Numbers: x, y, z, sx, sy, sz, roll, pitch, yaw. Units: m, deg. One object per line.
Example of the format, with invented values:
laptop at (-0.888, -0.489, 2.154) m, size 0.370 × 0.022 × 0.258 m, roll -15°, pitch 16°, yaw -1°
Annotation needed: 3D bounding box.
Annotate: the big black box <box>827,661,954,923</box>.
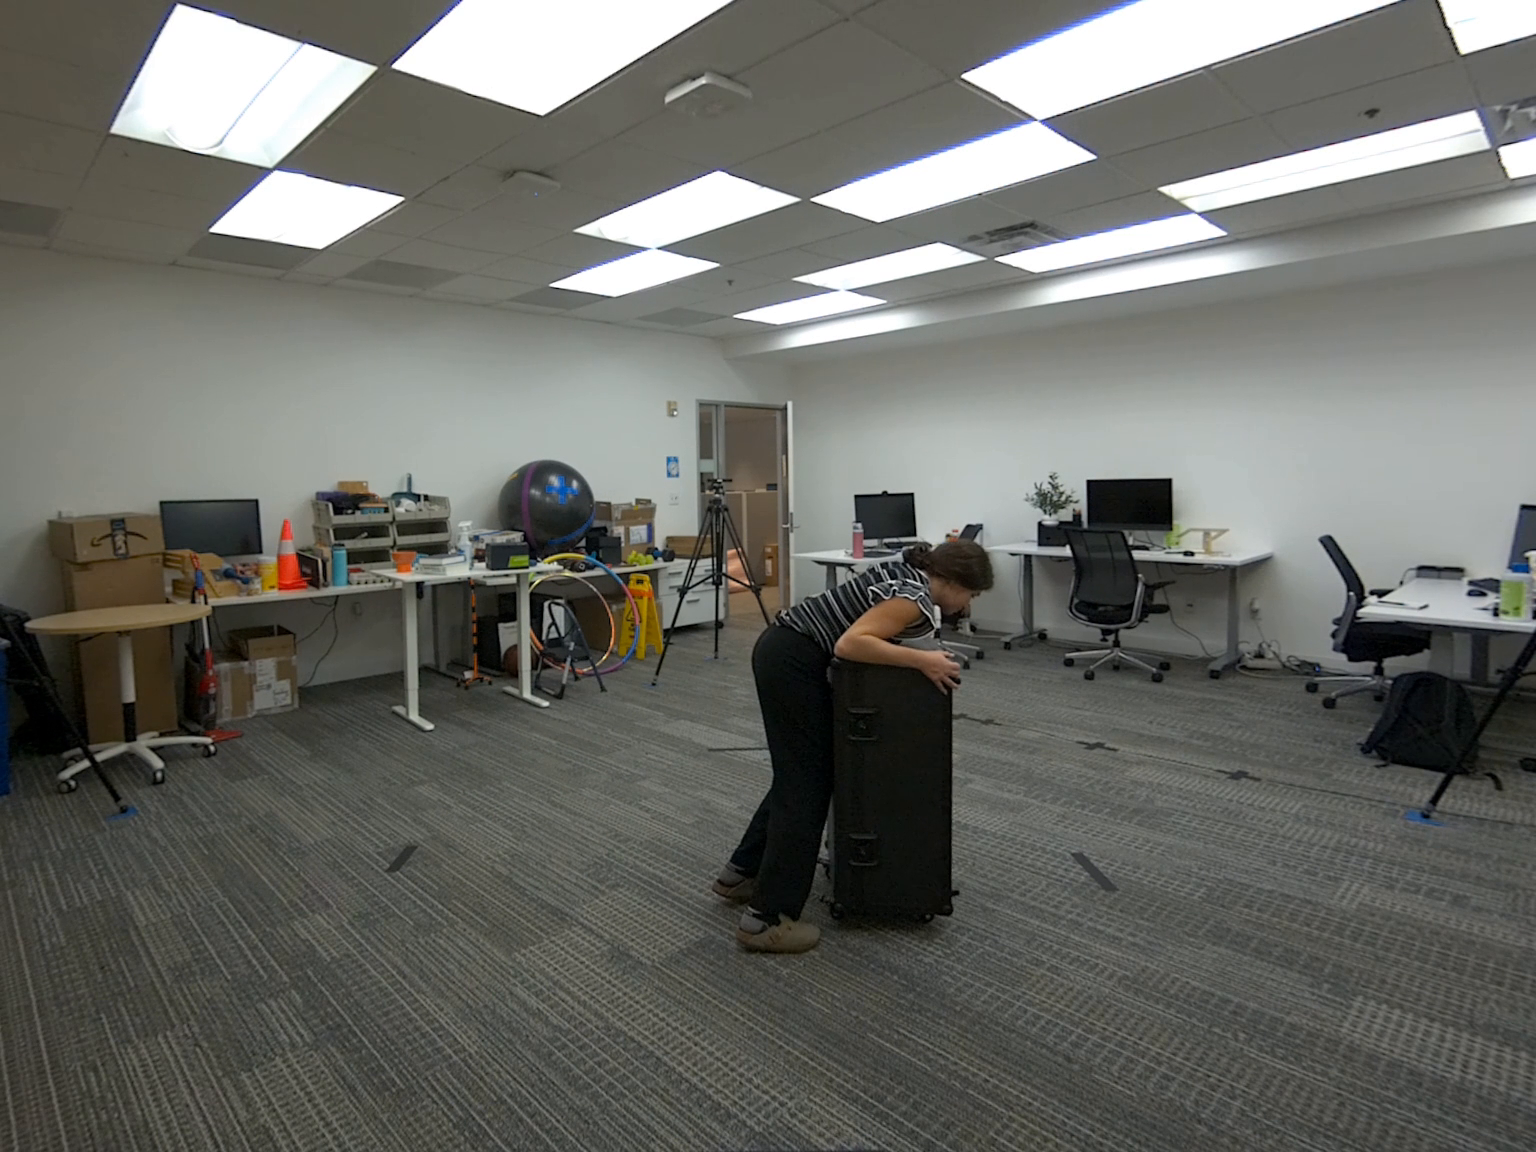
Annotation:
big black box at (0.394, 0.650, 2.811) m, size 0.398 × 0.859 × 0.521 m, roll 0°, pitch 4°, yaw 3°
